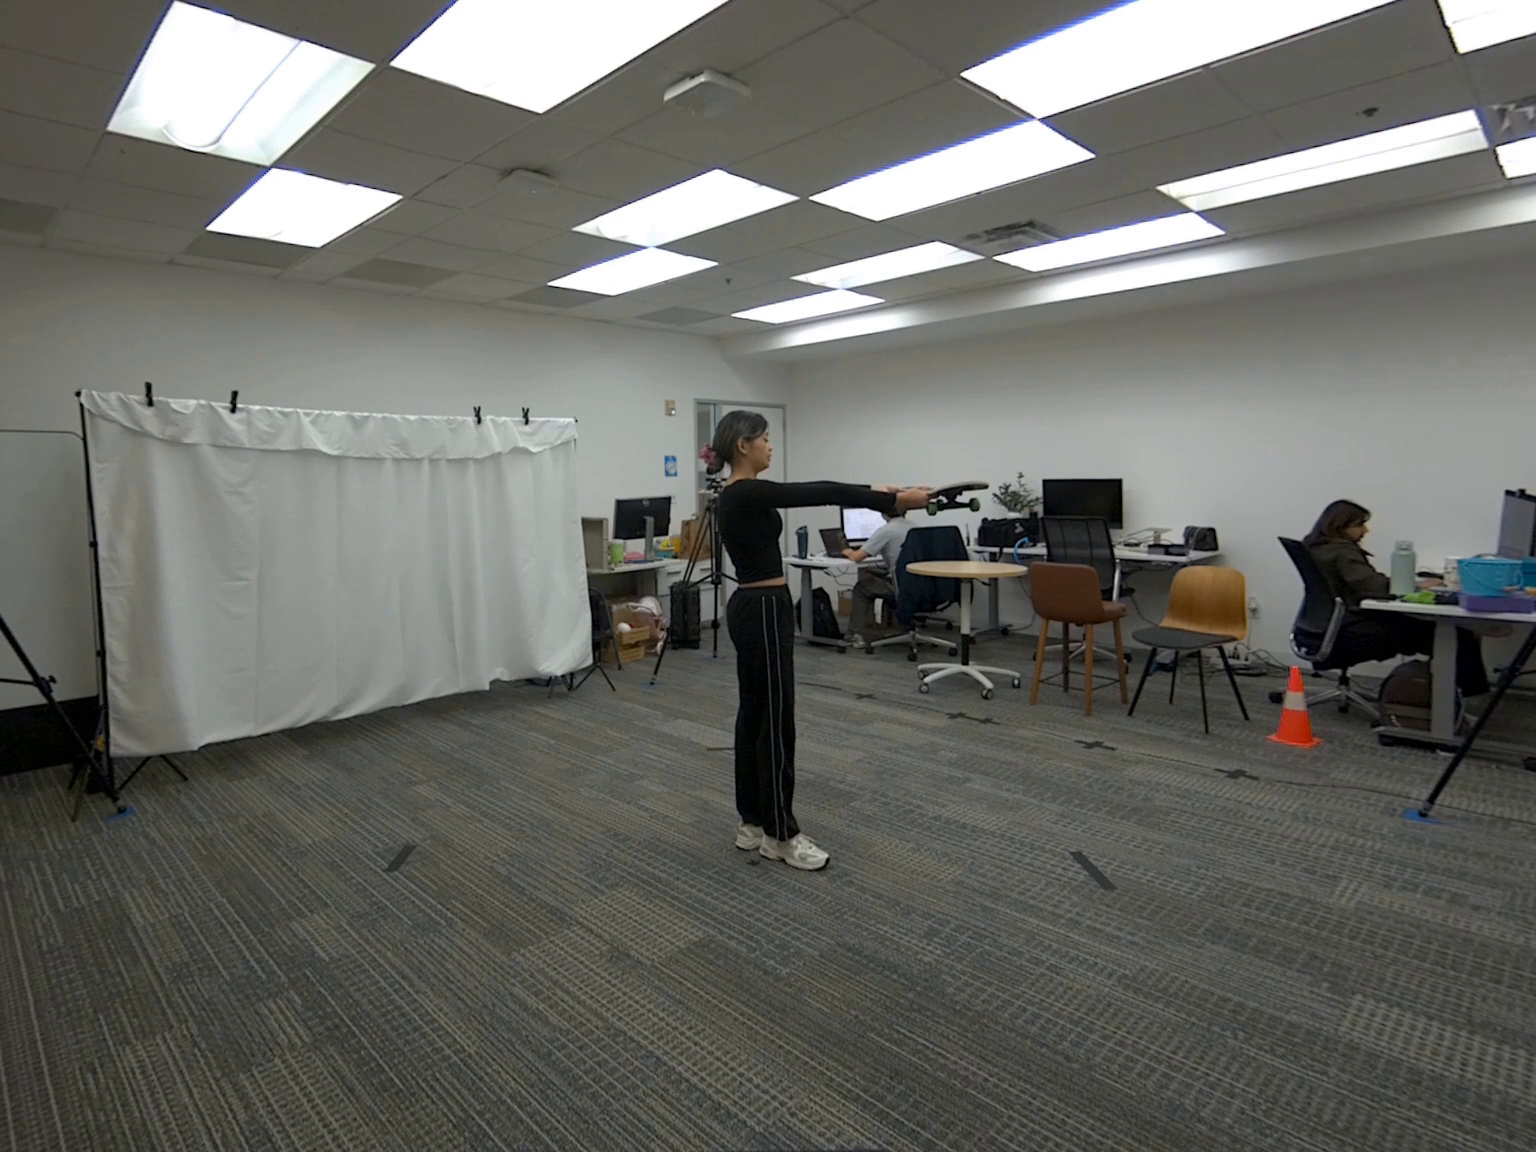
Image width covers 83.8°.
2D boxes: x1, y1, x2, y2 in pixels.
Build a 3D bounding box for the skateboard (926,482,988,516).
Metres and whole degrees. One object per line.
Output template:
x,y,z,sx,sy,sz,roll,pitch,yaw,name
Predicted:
0.626,-0.288,3.199,0.192,0.110,0.793,-4,4,-9,skateboard
